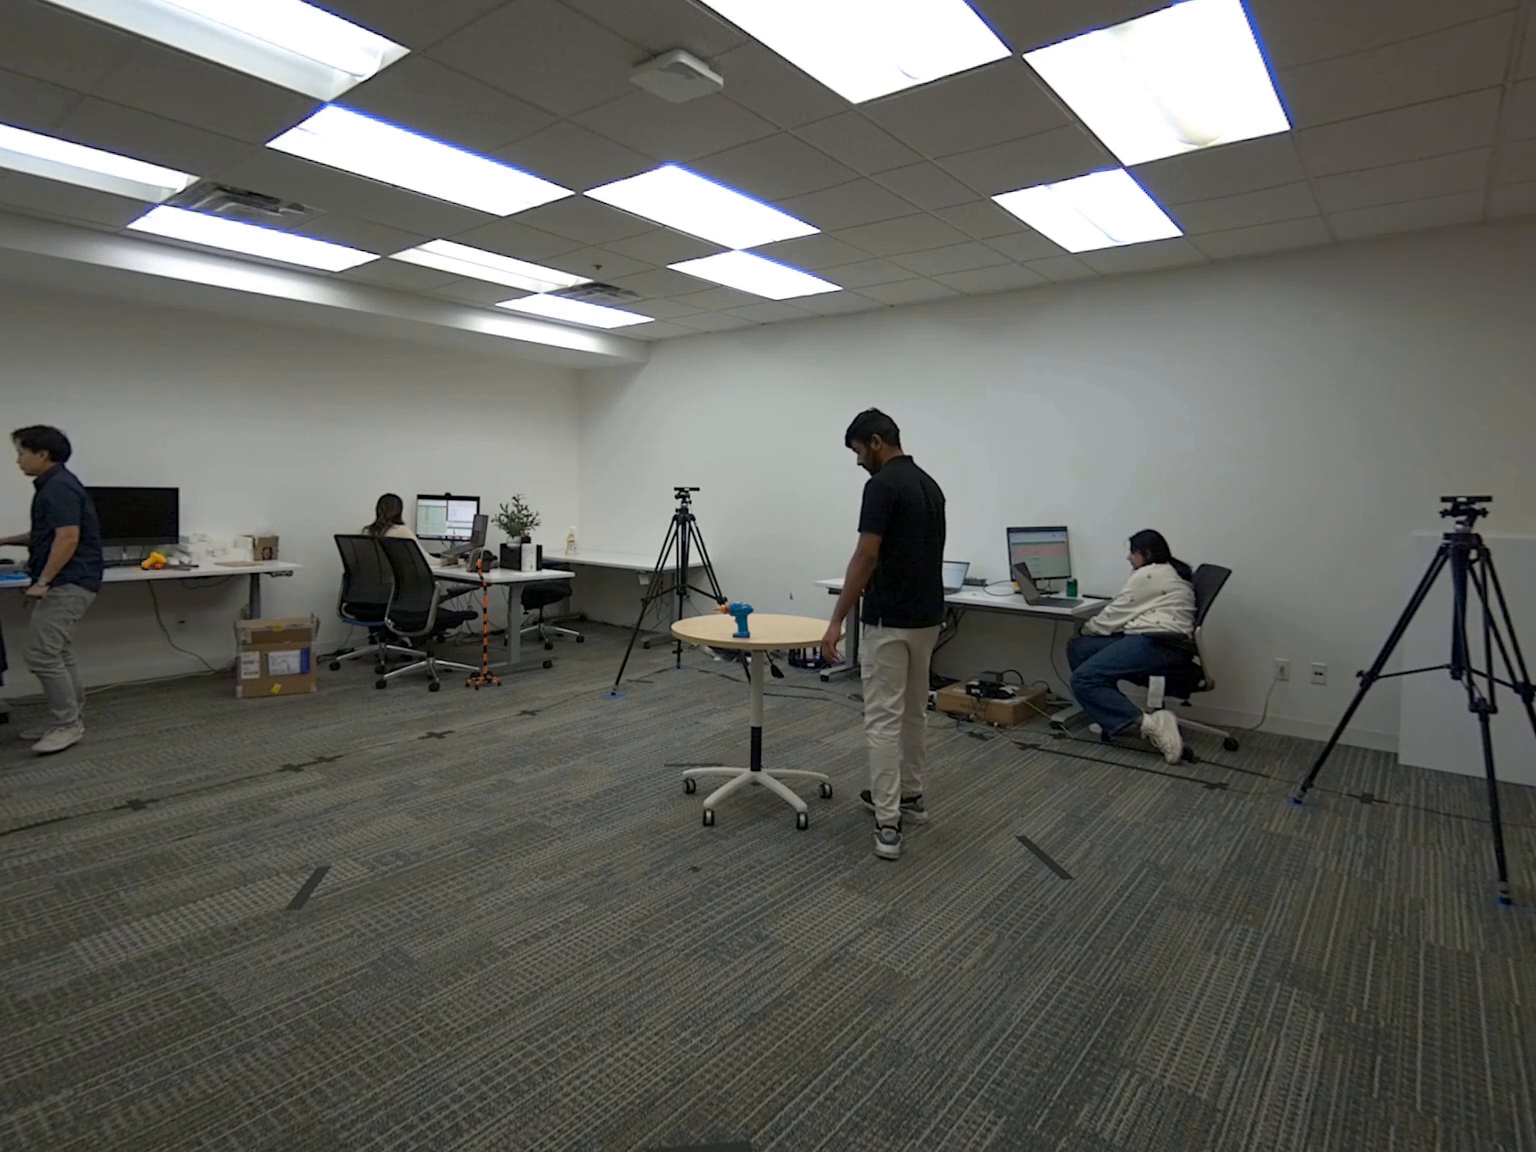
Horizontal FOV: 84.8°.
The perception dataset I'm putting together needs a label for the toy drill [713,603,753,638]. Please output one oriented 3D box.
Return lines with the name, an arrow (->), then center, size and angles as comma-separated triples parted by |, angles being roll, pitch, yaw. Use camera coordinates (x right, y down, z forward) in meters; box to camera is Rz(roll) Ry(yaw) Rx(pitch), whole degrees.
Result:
toy drill -> -0.157, 0.176, 3.511 | 0.171, 0.146, 0.061 | 1, 2, 7
